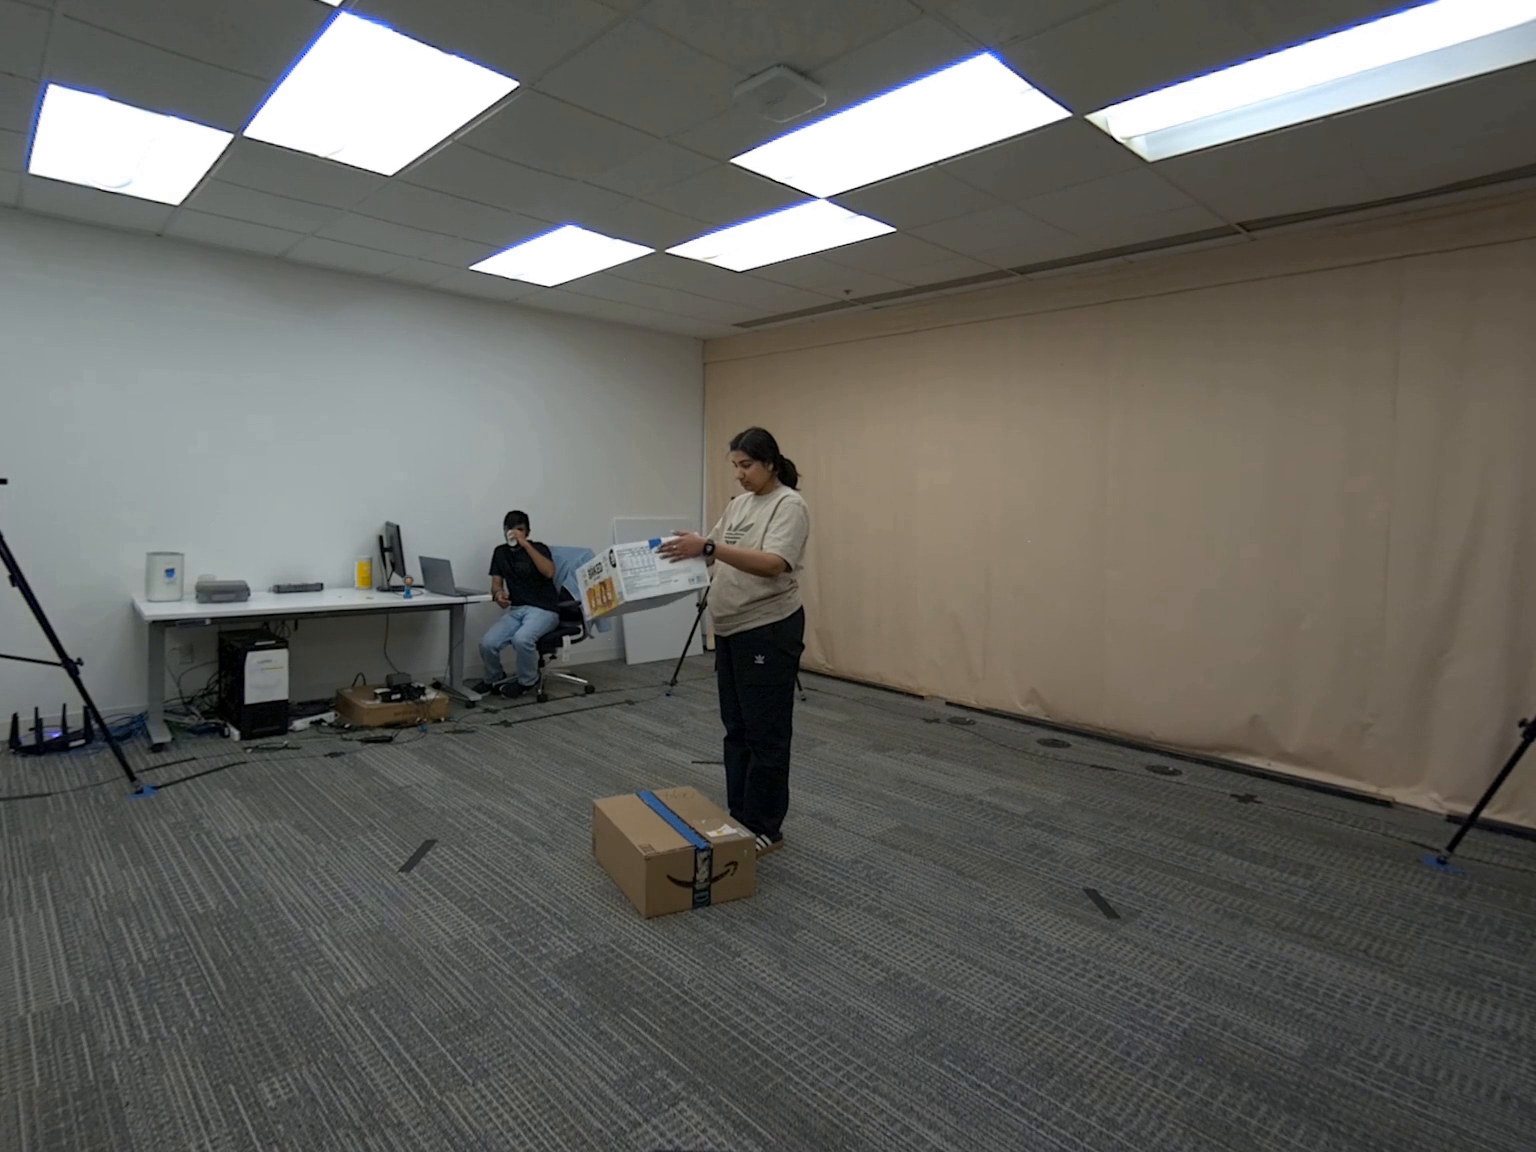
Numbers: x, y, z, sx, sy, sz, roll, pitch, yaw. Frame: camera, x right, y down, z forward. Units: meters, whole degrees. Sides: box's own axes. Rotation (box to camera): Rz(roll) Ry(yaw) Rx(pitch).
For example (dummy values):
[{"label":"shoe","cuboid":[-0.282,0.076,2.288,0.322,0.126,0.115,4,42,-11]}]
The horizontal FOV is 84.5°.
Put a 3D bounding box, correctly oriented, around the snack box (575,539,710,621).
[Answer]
[{"label":"snack box","cuboid":[-0.475,0.010,3.112,0.334,0.207,0.409,-11,-7,-32]}]
